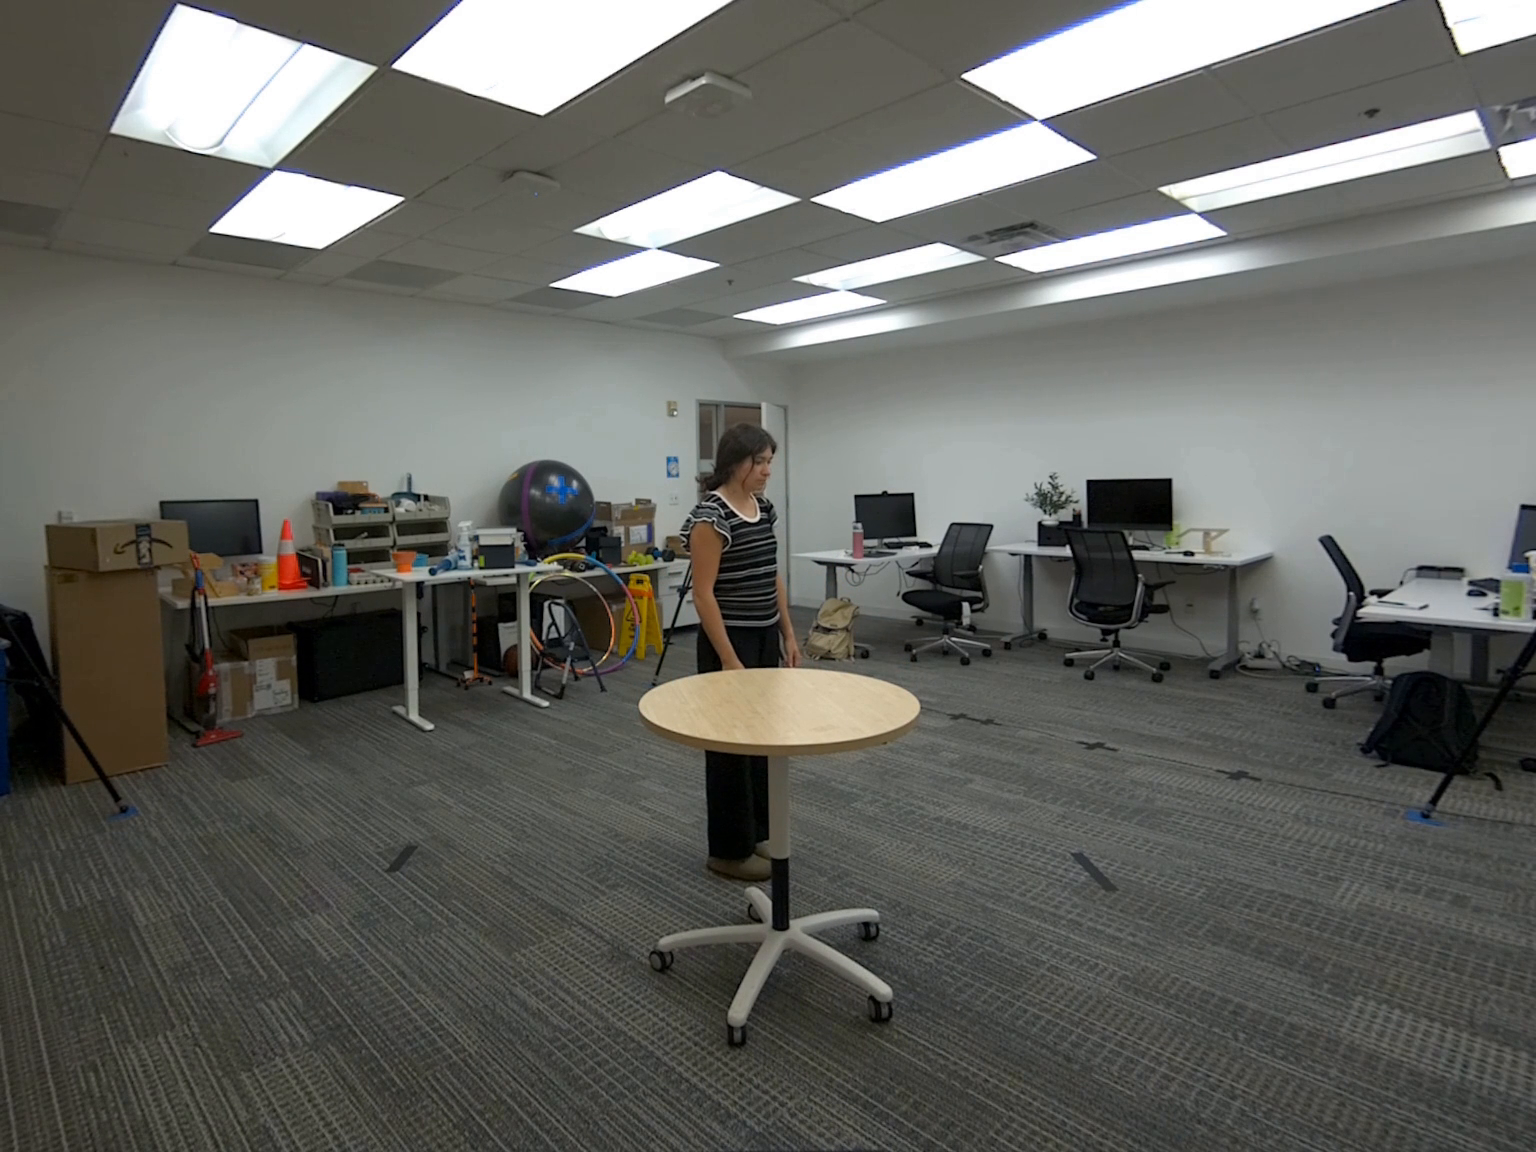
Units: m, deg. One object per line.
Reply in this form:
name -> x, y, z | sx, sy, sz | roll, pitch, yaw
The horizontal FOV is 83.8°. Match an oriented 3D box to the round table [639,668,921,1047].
round table -> 0.033, 0.740, 2.381 | 0.763, 0.790, 0.768 | -1, 6, -2
